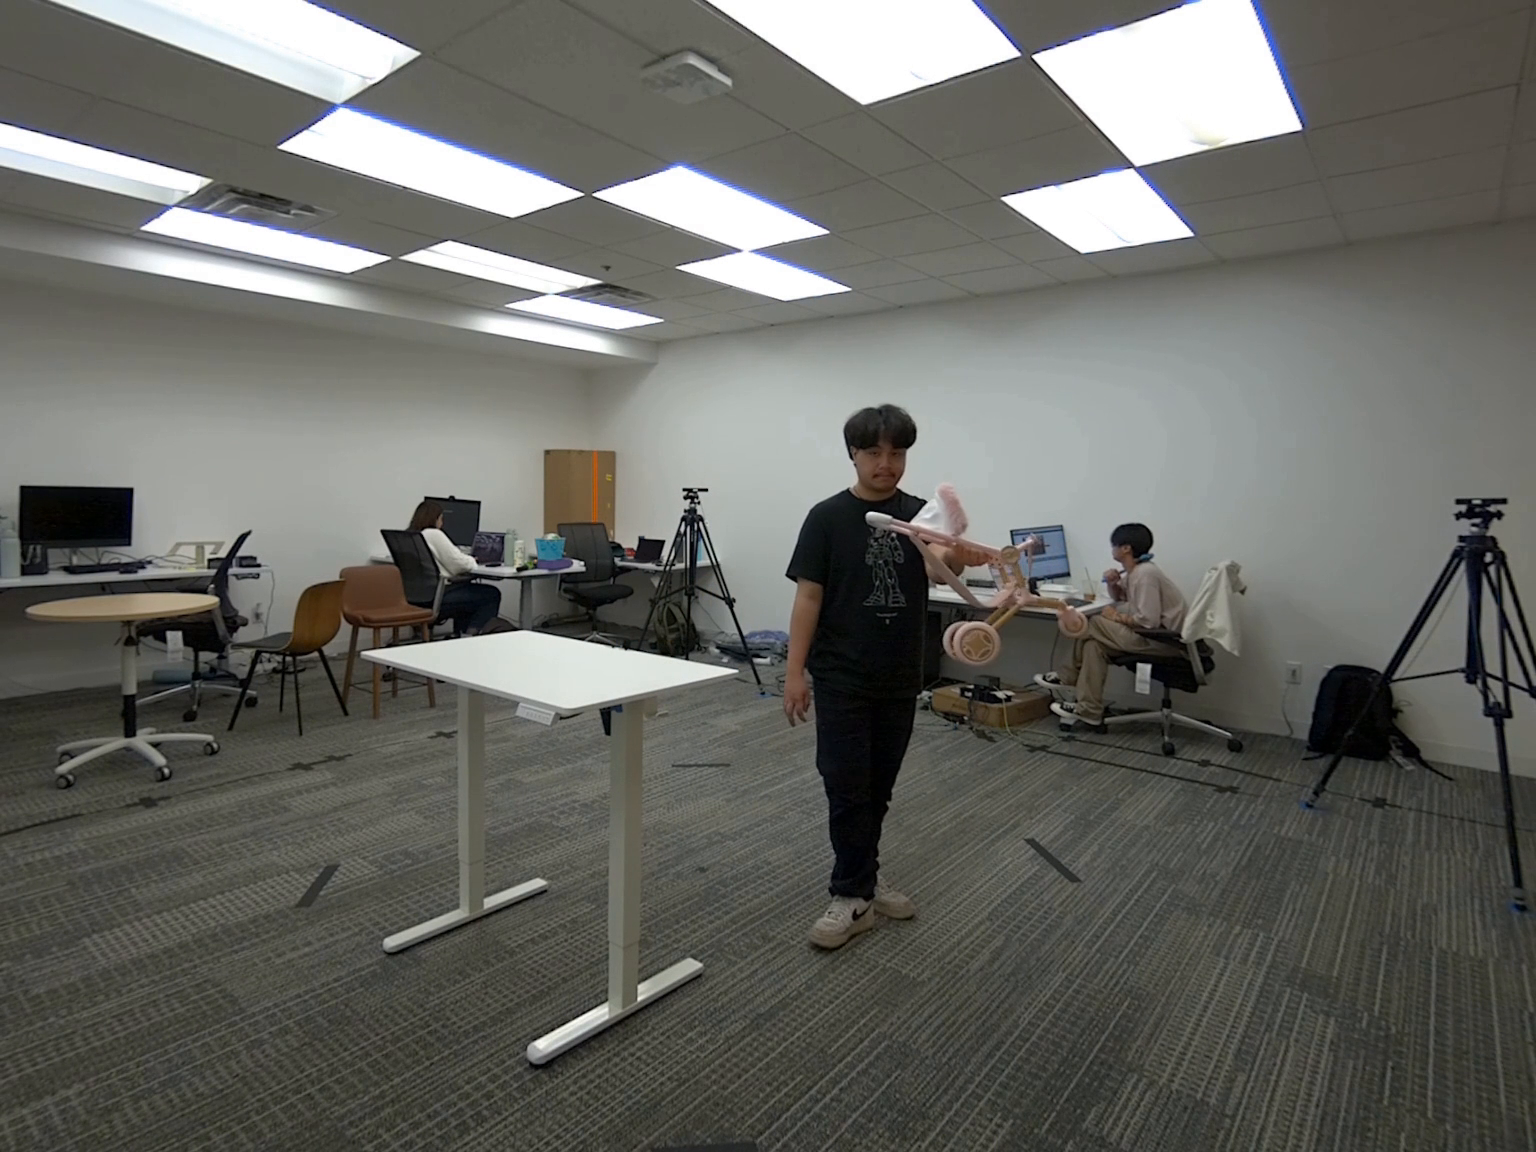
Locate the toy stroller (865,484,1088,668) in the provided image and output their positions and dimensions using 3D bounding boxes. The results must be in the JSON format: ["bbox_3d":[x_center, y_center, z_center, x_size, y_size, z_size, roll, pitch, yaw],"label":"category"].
[{"bbox_3d":[0.532,-0.018,2.195,0.342,0.542,0.277,-32,-9,9],"label":"toy stroller"}]
